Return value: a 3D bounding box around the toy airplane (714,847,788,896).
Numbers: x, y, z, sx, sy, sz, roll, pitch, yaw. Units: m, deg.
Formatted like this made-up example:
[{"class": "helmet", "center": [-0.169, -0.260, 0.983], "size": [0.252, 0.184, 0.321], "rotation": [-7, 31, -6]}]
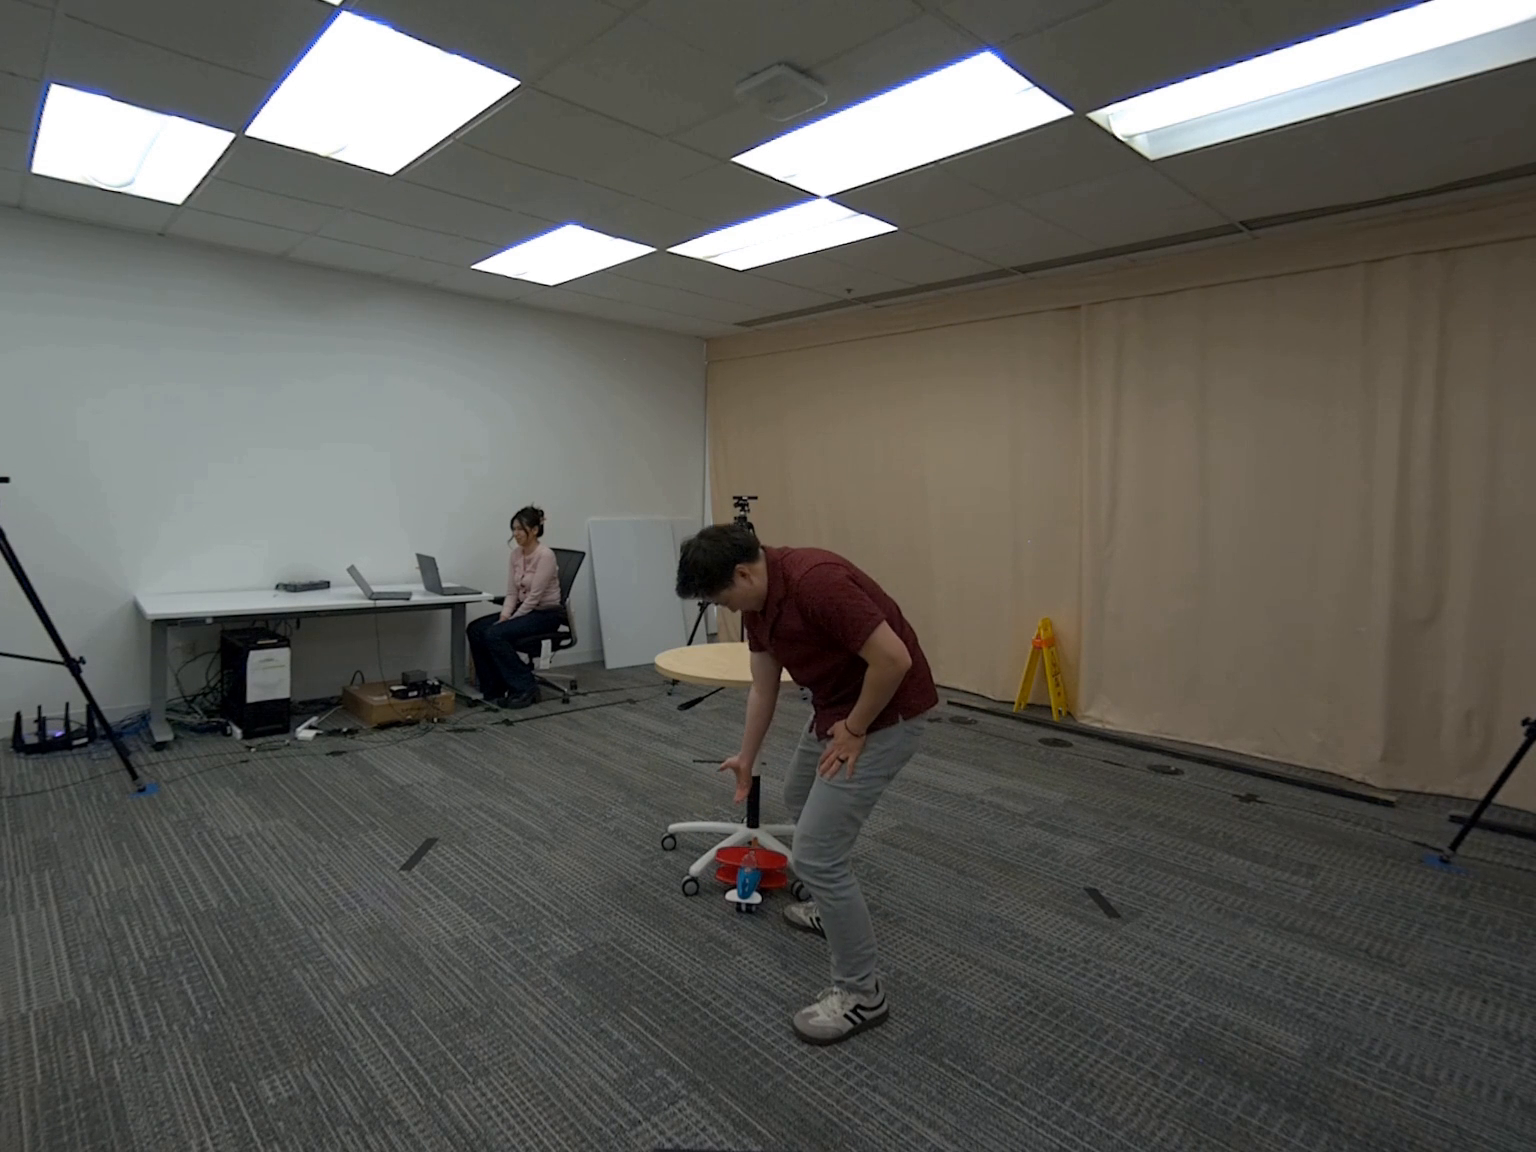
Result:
[{"class": "toy airplane", "center": [-0.063, 1.047, 2.908], "size": [0.247, 0.156, 0.263], "rotation": [0, 5, -19]}]
